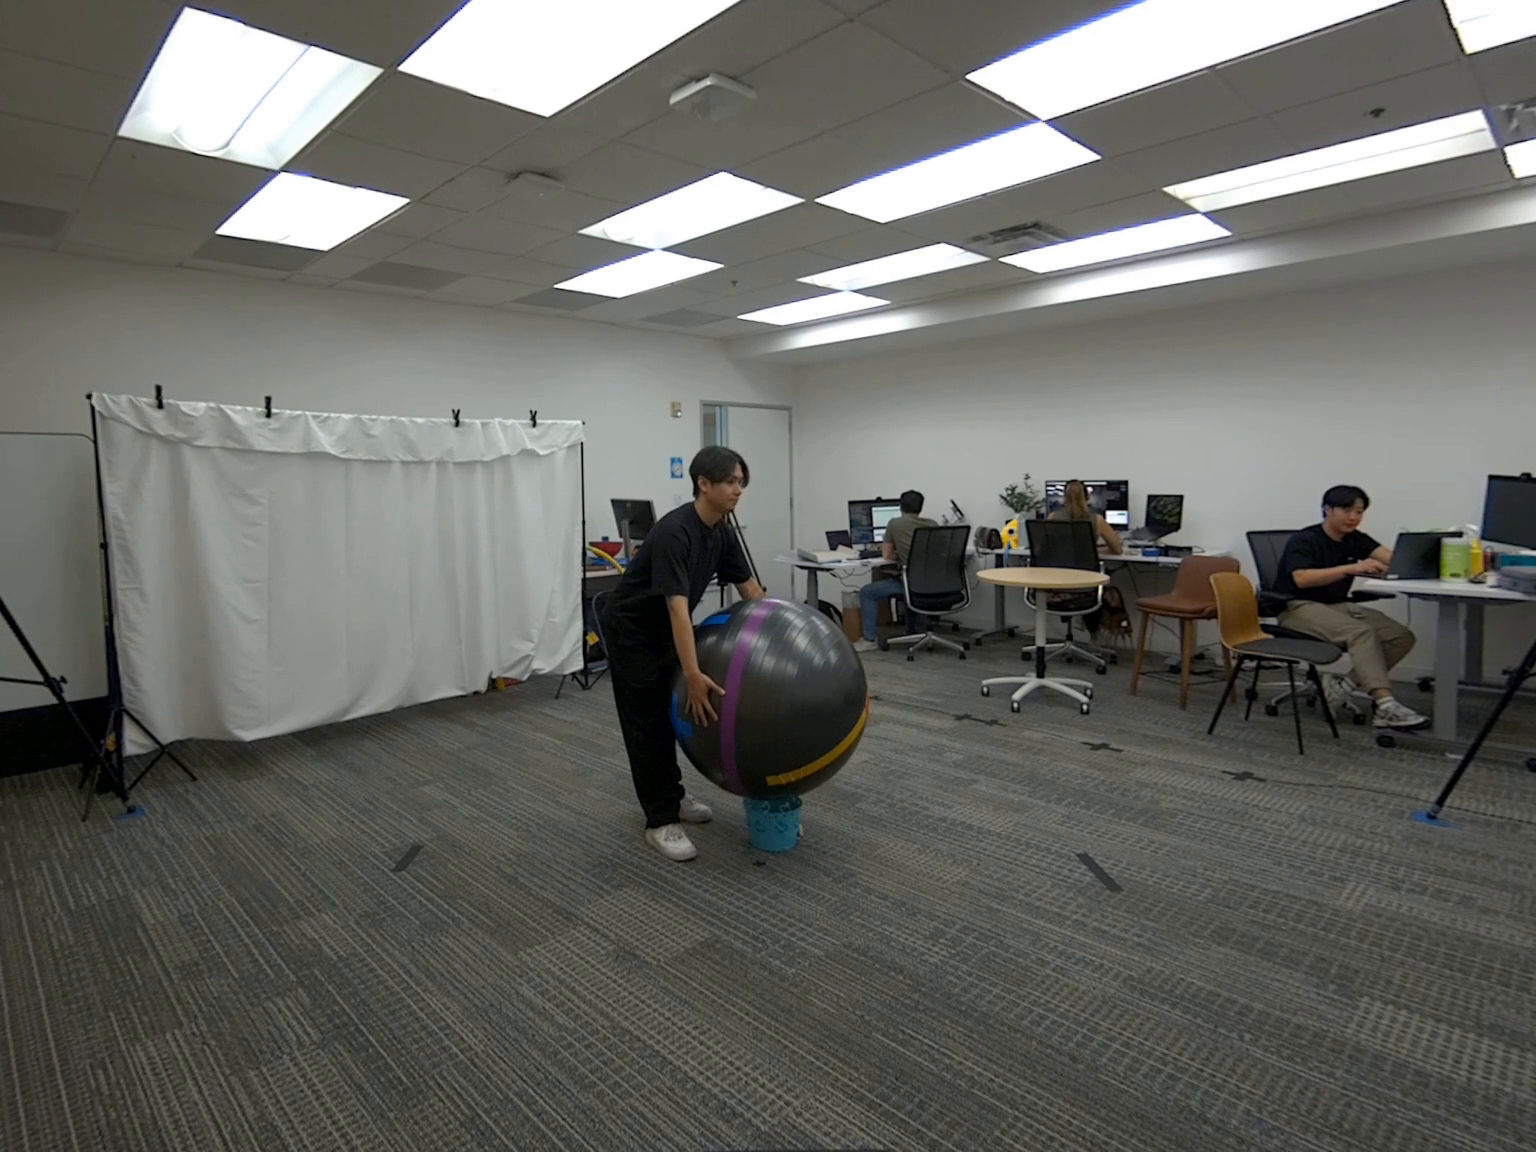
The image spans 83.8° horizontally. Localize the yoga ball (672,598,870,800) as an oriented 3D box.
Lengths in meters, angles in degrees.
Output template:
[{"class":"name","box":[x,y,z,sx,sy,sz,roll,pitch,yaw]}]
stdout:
[{"class":"yoga ball","box":[0.007,0.458,3.261,0.757,0.755,0.762,-1,5,-2]}]
